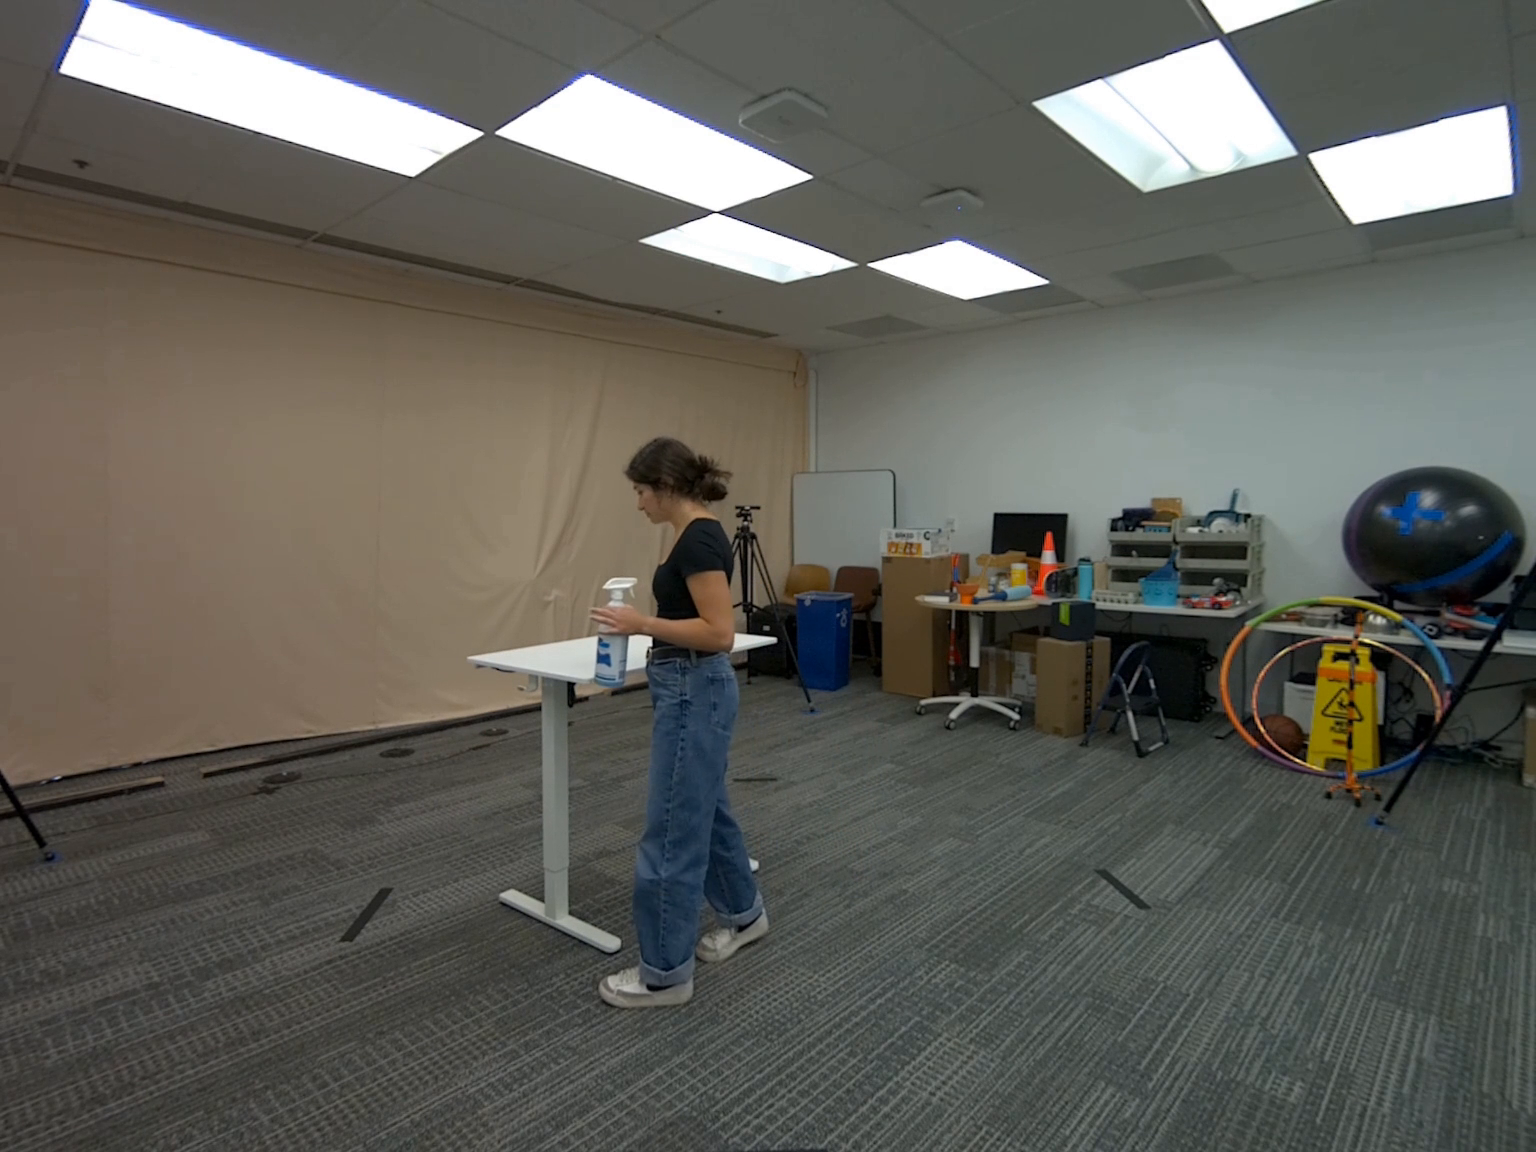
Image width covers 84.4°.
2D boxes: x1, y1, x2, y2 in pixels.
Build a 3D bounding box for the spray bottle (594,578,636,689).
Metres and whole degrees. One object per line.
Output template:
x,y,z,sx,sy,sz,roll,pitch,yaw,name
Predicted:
-0.416,0.155,2.301,0.090,0.296,0.087,8,7,2,spray bottle
